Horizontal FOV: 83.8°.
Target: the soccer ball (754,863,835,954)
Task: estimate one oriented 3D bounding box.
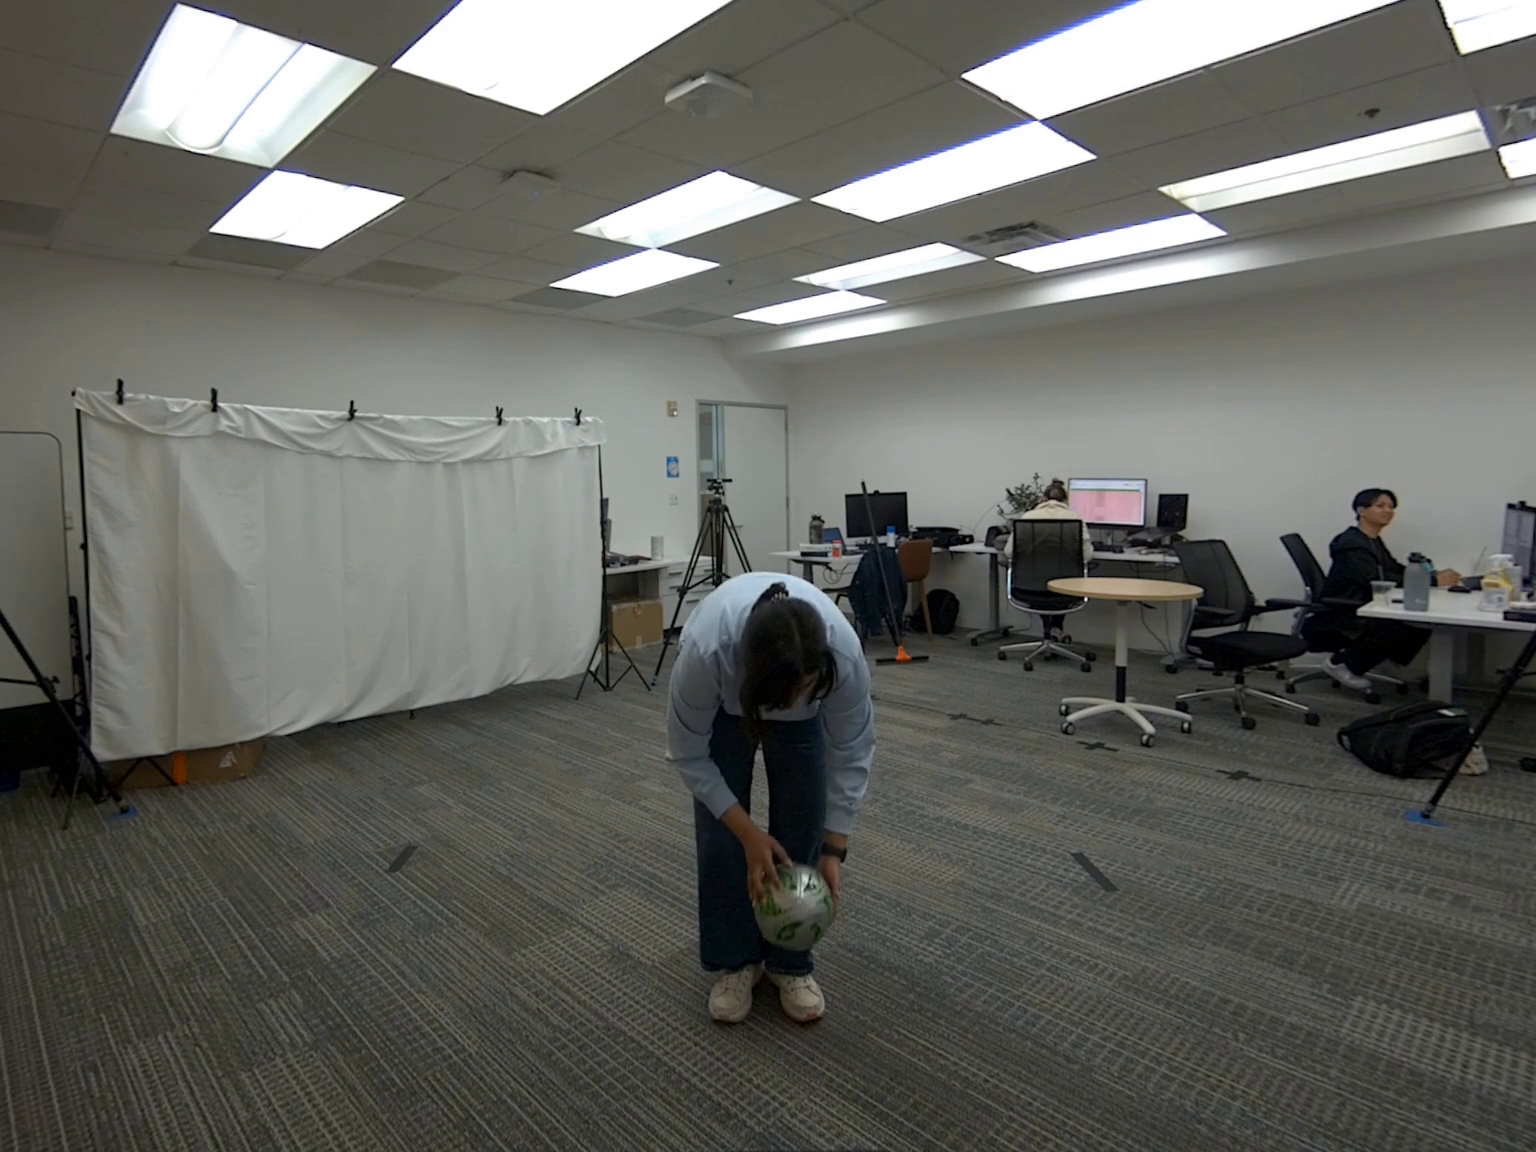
[{"bbox_3d":[0.071,0.772,1.991,0.187,0.187,0.188,-1,5,-2],"label":"soccer ball"}]
